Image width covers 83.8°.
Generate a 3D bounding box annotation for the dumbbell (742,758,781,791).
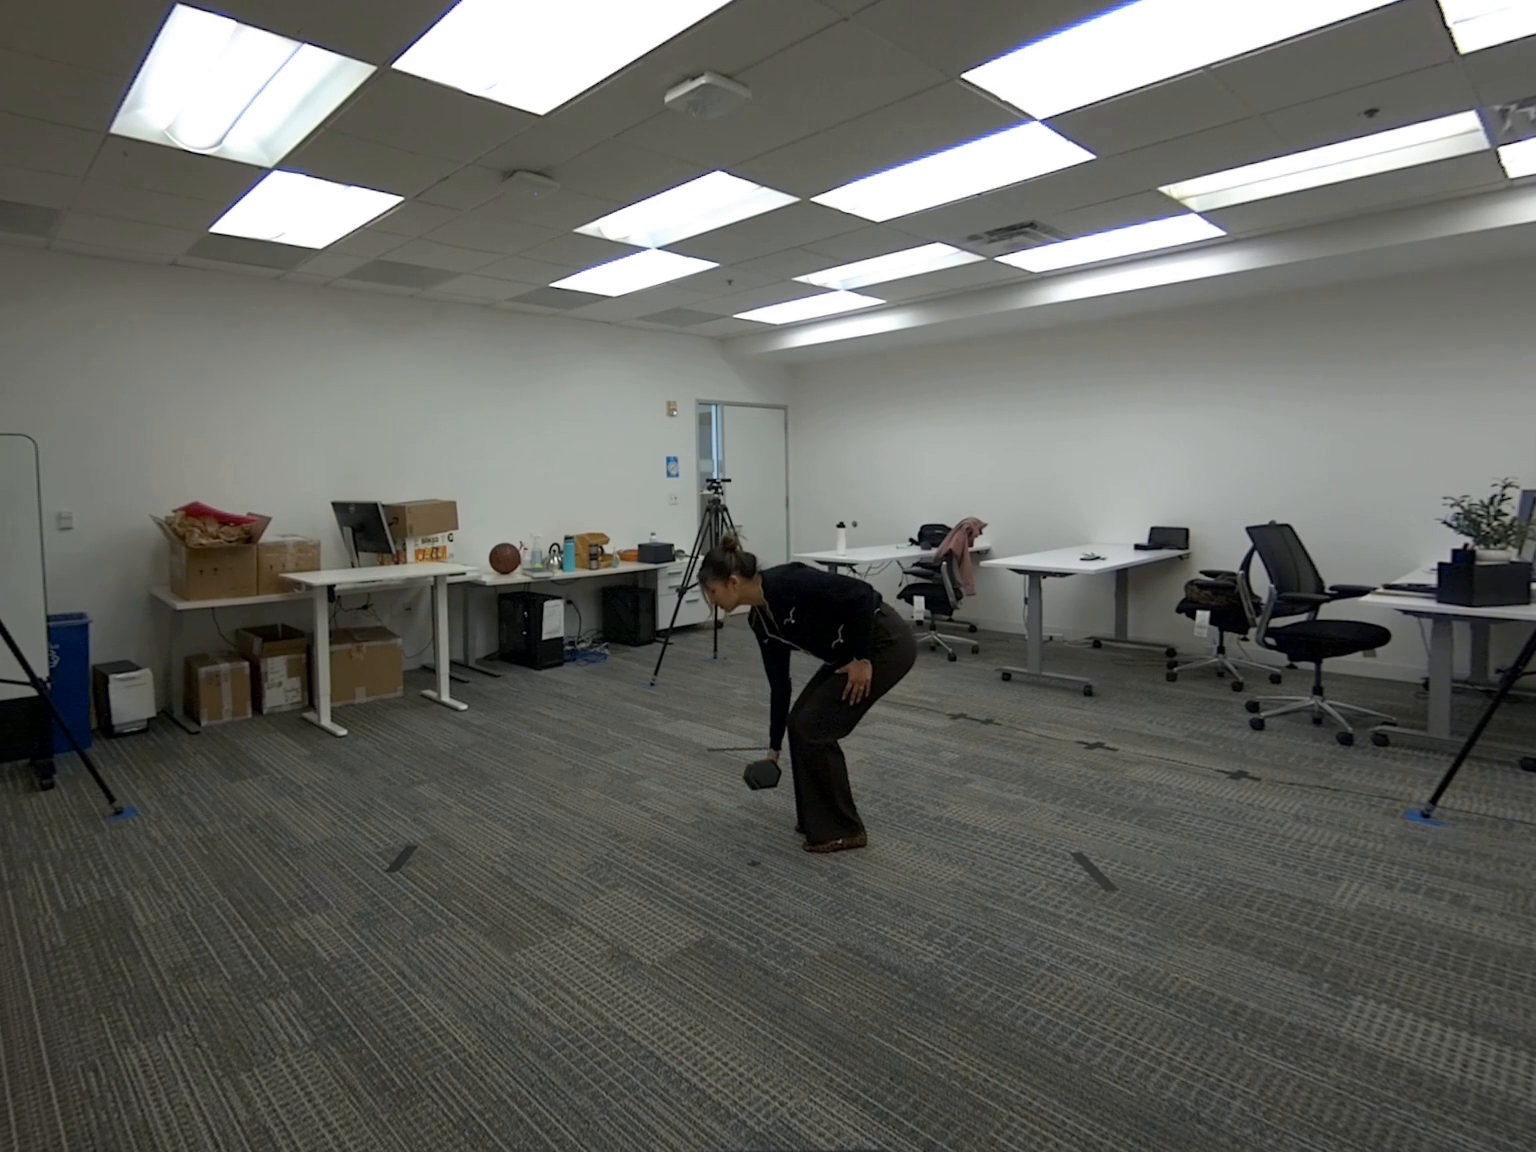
[{"bbox_3d":[-0.023,0.786,3.400,0.108,0.124,0.292,-36,-5,-16],"label":"dumbbell"}]
